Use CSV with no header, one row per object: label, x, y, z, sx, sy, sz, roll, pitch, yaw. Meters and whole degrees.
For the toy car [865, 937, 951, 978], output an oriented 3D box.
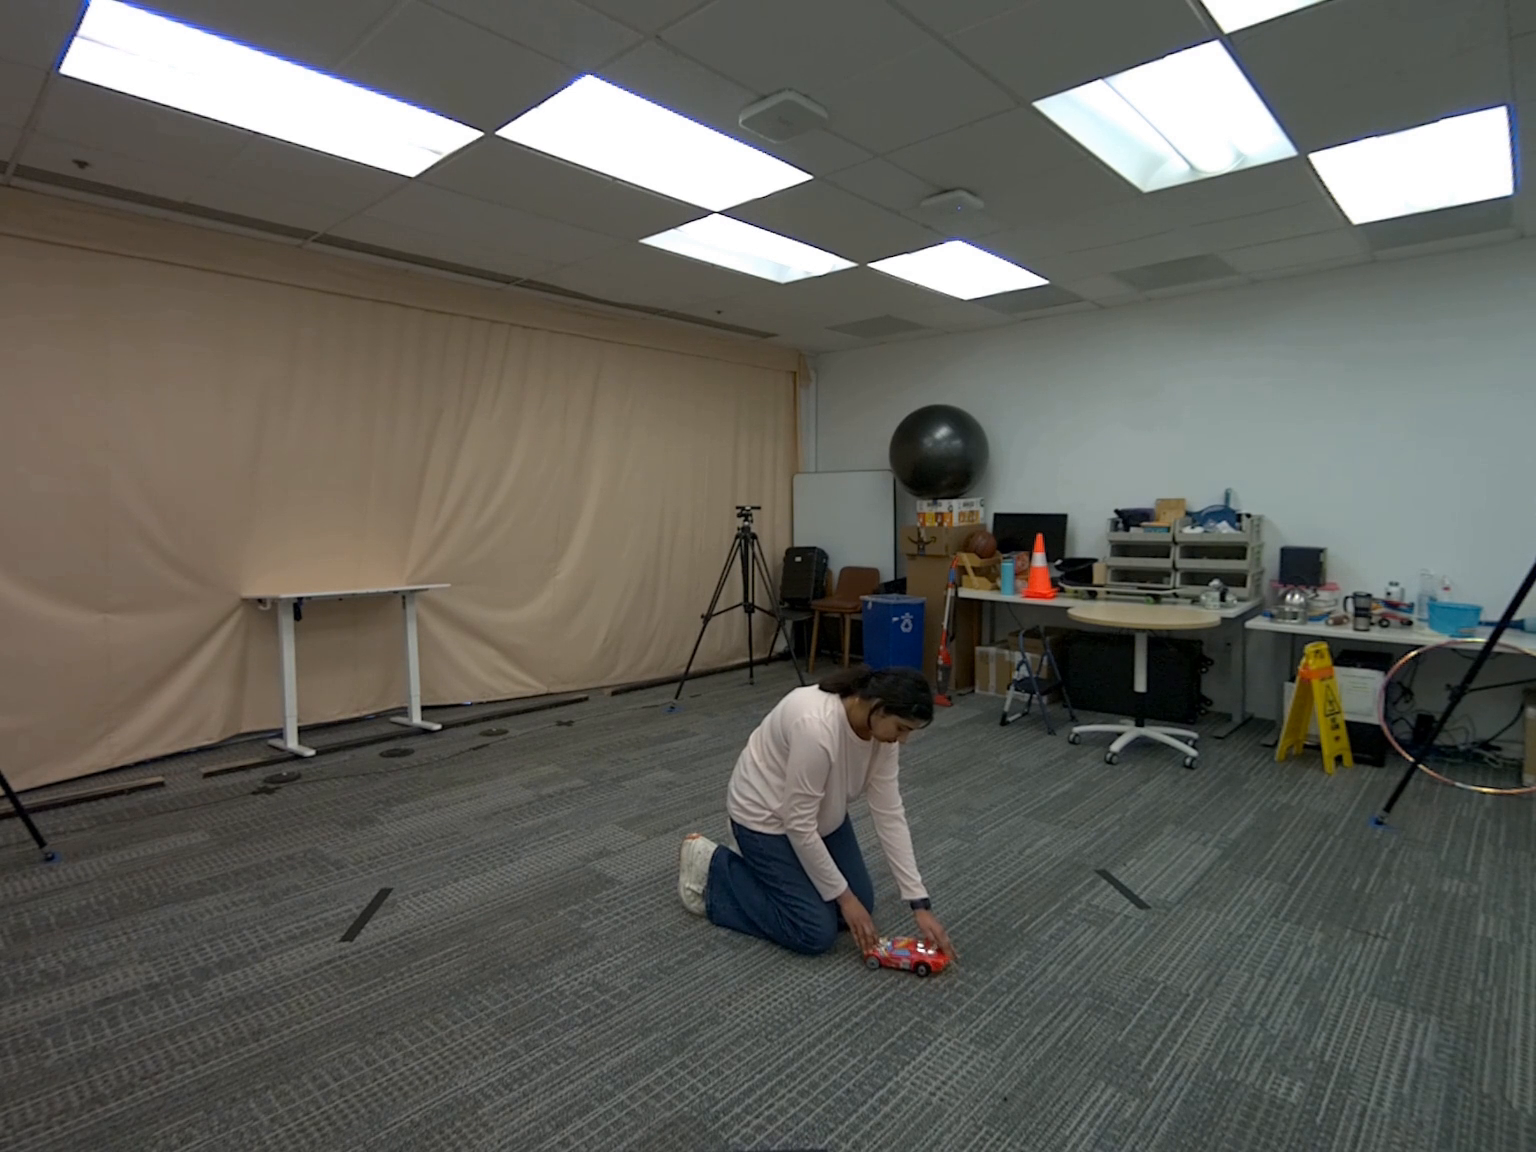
toy car,0.428,1.148,2.545,0.259,0.083,0.128,-10,4,17
